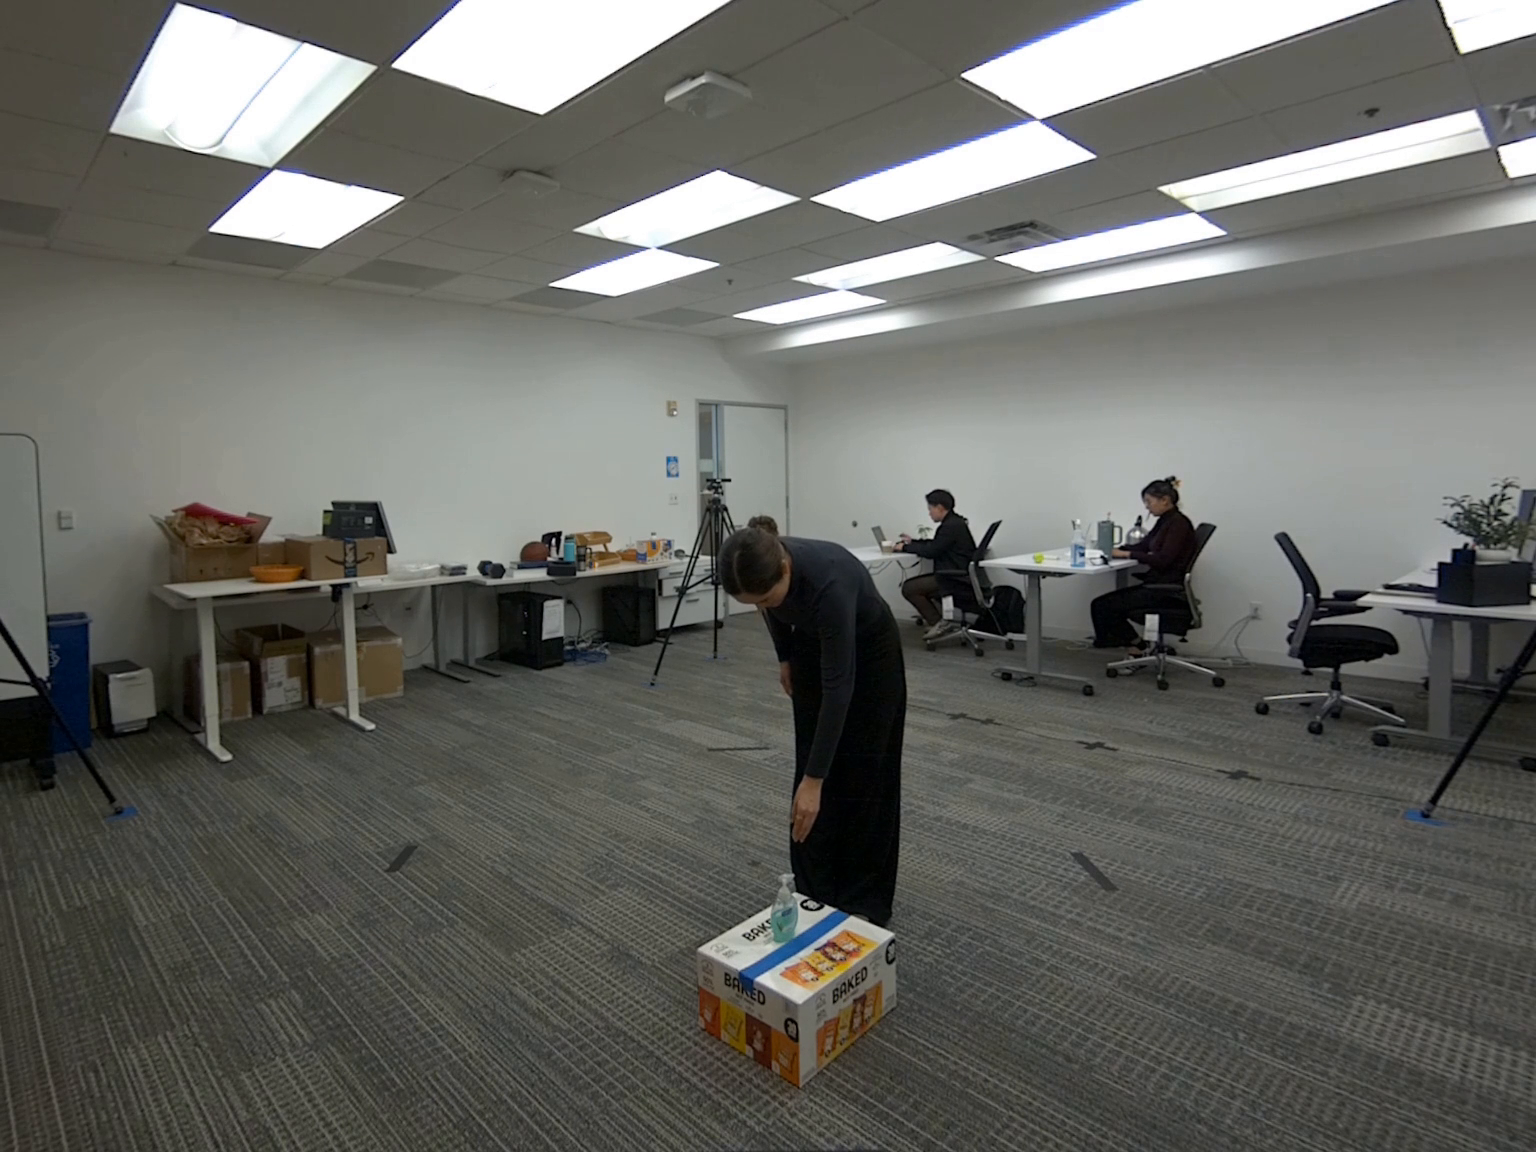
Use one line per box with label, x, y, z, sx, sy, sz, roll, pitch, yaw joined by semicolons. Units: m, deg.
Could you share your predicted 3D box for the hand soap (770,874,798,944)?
hand soap;0.050;0.867;2.237;0.082;0.167;0.045;-10;10;-40
